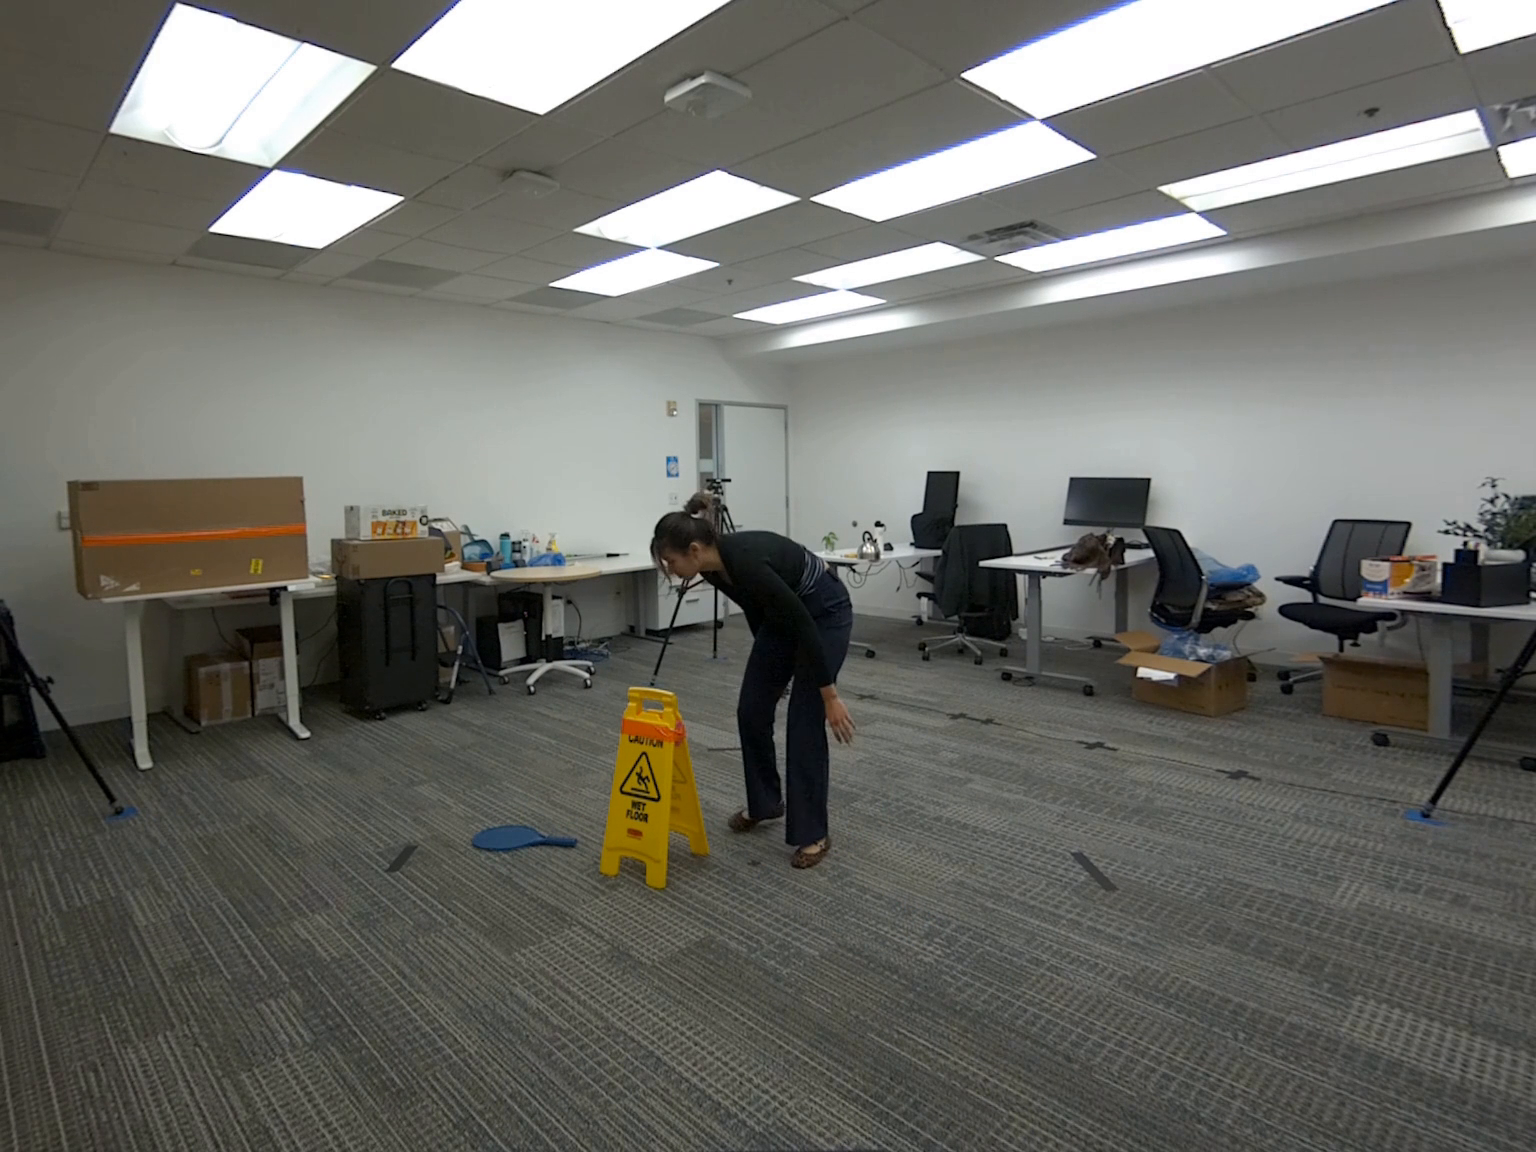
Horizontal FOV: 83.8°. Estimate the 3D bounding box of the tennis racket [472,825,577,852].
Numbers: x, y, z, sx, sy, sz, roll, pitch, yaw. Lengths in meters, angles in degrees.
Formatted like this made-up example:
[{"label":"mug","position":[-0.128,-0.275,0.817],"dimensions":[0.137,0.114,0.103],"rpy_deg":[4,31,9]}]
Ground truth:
[{"label":"tennis racket","position":[-0.944,1.026,3.326],"dimensions":[0.438,0.031,0.212],"rpy_deg":[-1,6,13]}]
